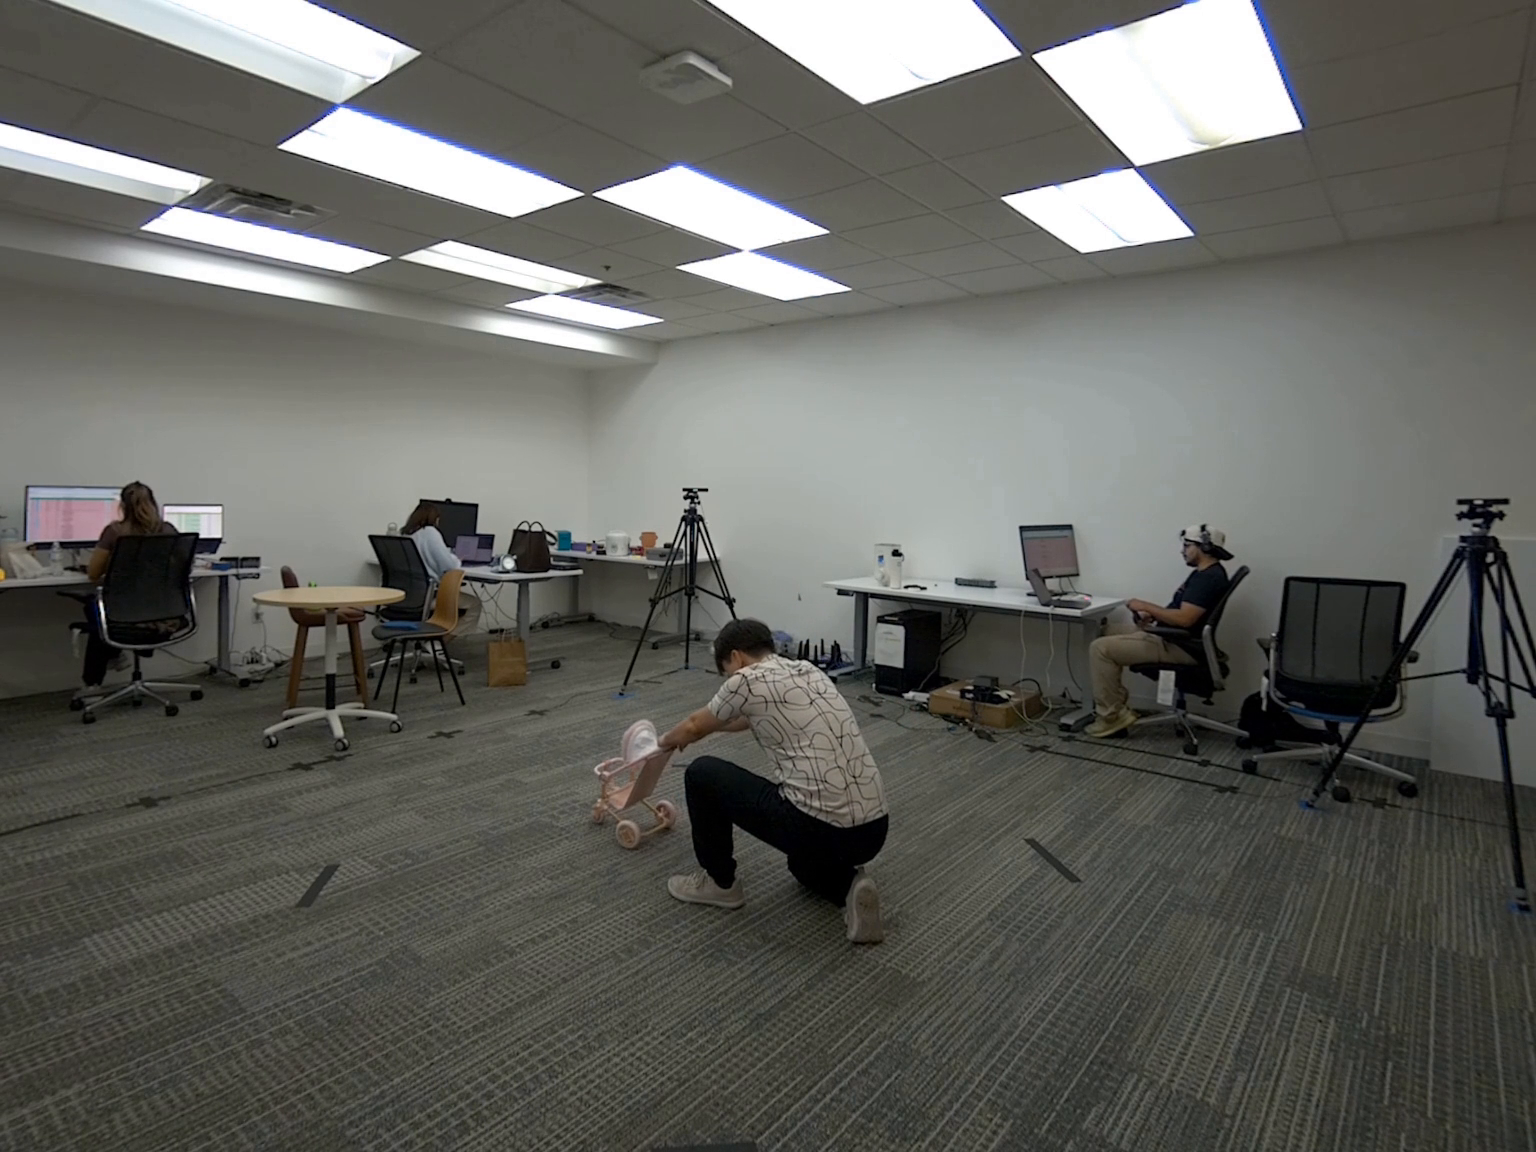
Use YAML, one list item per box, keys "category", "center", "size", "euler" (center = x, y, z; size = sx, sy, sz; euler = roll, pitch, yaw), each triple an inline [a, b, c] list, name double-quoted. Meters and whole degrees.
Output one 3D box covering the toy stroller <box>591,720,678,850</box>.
- category: "toy stroller"
  center: [-0.541, 0.808, 3.406]
  size: [0.354, 0.530, 0.273]
  euler: [22, 15, 32]
